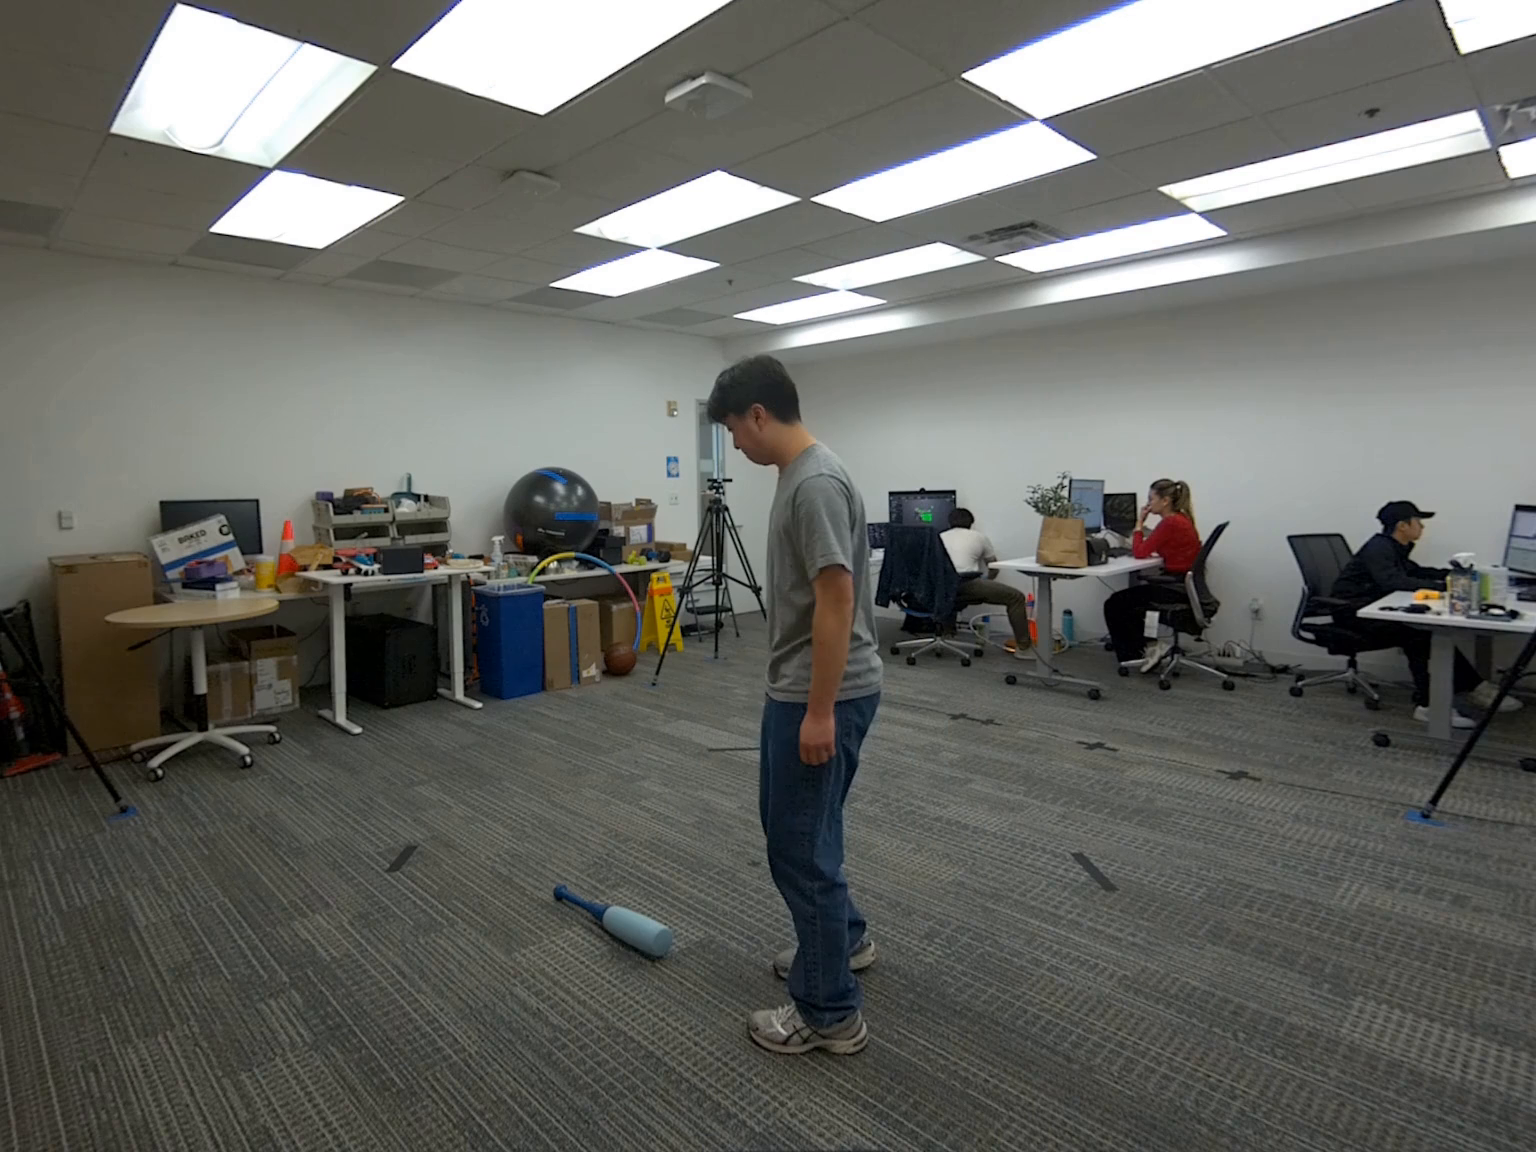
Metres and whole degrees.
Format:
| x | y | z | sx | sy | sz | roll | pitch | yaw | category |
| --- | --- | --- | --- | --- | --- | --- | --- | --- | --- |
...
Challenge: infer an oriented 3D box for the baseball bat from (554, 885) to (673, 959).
| x | y | z | sx | sy | sz | roll | pitch | yaw | category |
| --- | --- | --- | --- | --- | --- | --- | --- | --- | --- |
| -0.500 | 1.071 | 2.678 | 0.558 | 0.089 | 0.087 | 0 | 4 | 44 | baseball bat |
